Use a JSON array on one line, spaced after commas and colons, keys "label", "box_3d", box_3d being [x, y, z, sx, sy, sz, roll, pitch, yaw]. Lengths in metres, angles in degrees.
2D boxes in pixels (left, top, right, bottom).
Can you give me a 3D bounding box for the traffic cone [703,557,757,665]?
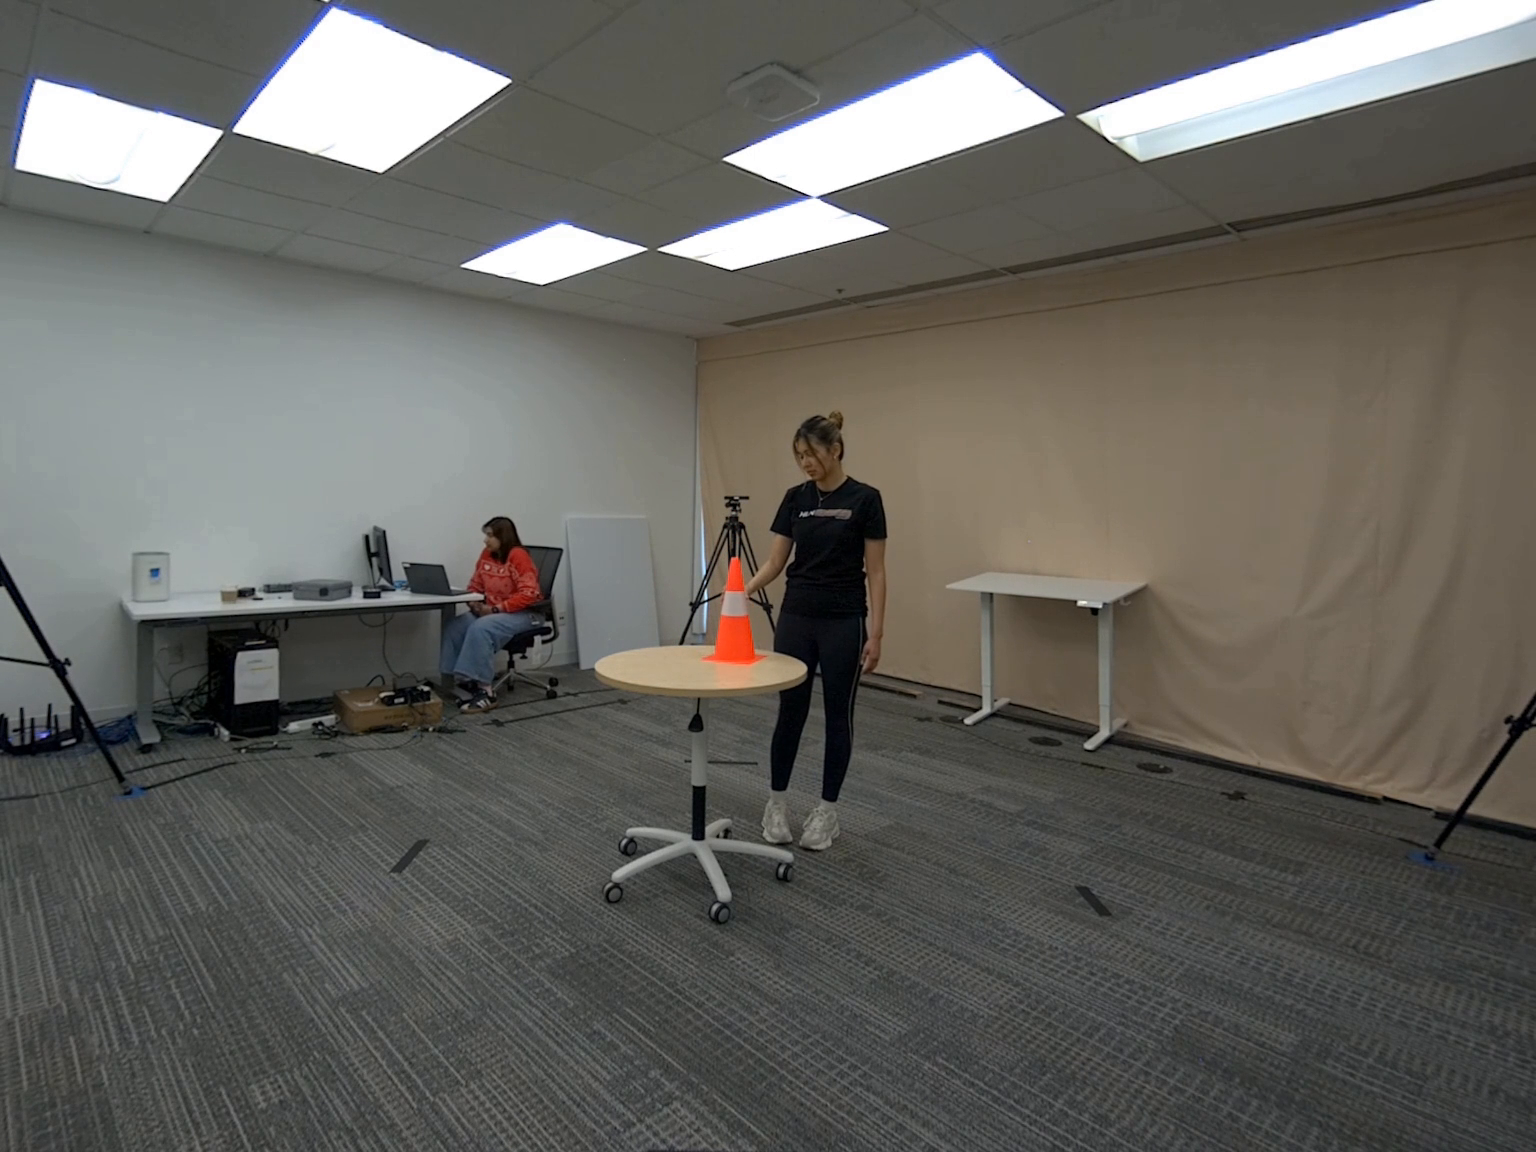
[{"label": "traffic cone", "box_3d": [-0.129, 0.126, 3.178, 0.207, 0.383, 0.202, 2, 3, 21]}]
